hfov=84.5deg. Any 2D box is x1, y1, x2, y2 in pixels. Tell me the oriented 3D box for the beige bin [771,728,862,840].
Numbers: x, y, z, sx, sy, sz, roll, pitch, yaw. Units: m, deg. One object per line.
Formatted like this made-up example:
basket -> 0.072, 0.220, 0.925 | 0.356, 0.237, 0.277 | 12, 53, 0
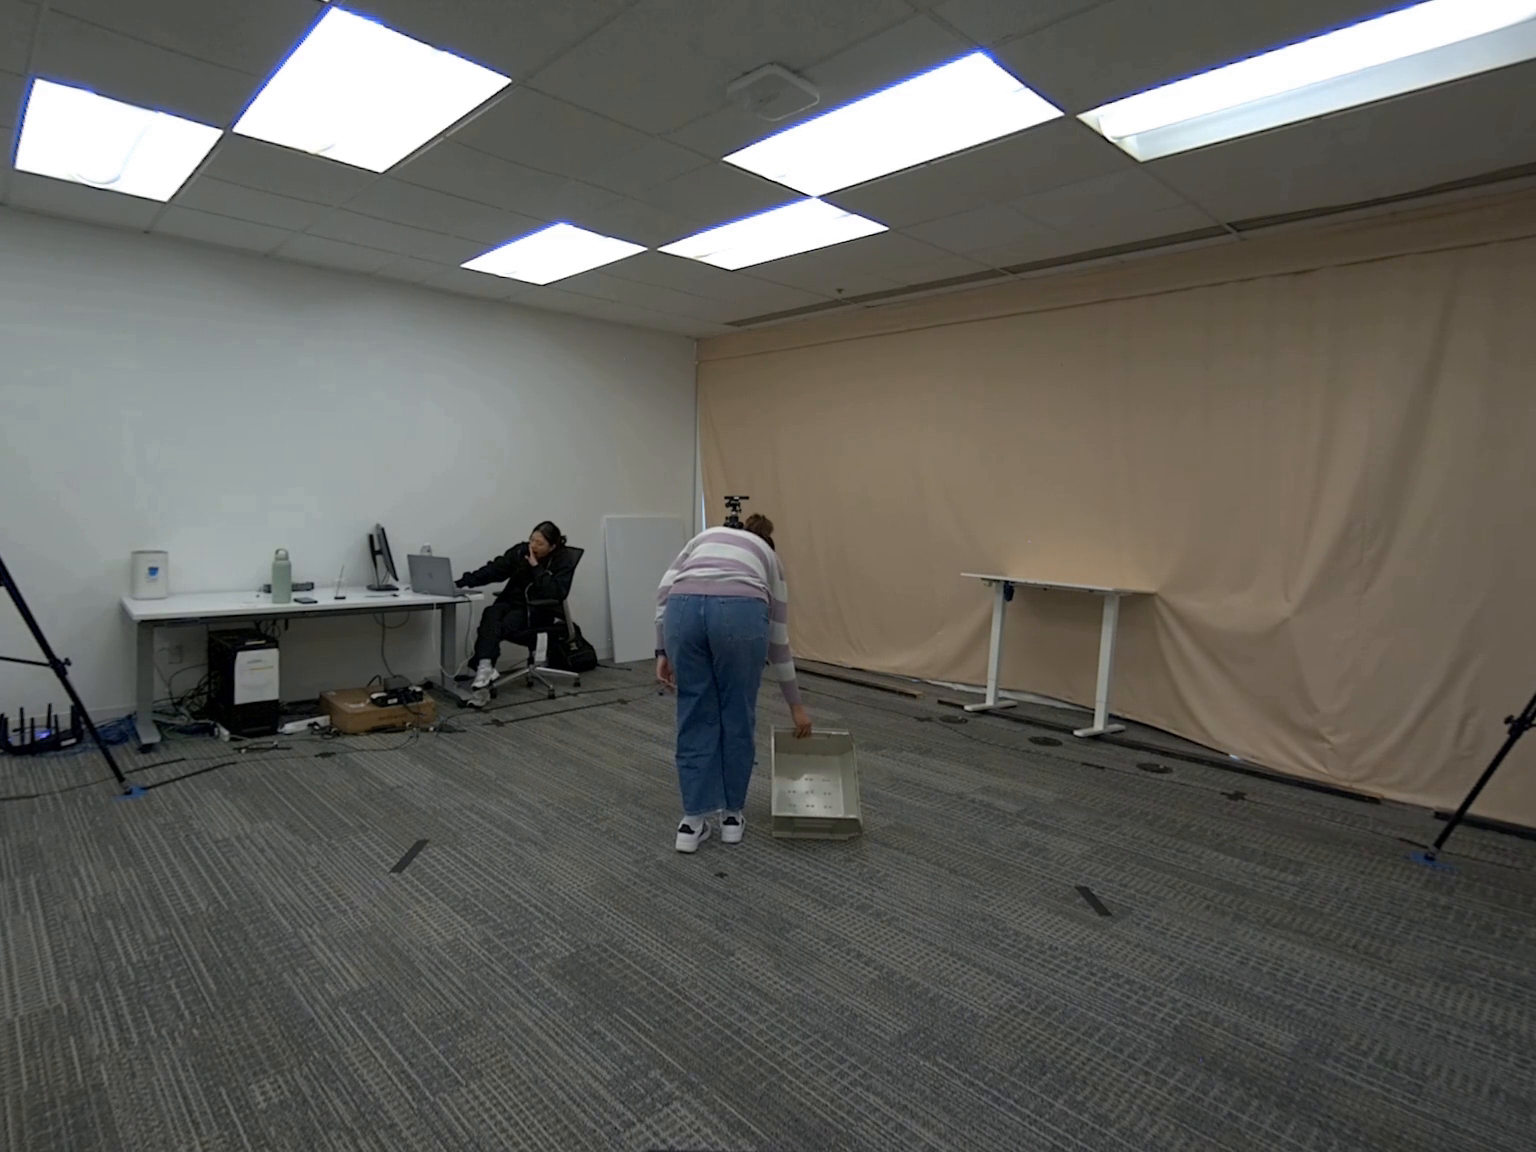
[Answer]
beige bin -> 0.190, 0.873, 3.556 | 0.377, 0.185, 0.431 | 1, 43, -1
